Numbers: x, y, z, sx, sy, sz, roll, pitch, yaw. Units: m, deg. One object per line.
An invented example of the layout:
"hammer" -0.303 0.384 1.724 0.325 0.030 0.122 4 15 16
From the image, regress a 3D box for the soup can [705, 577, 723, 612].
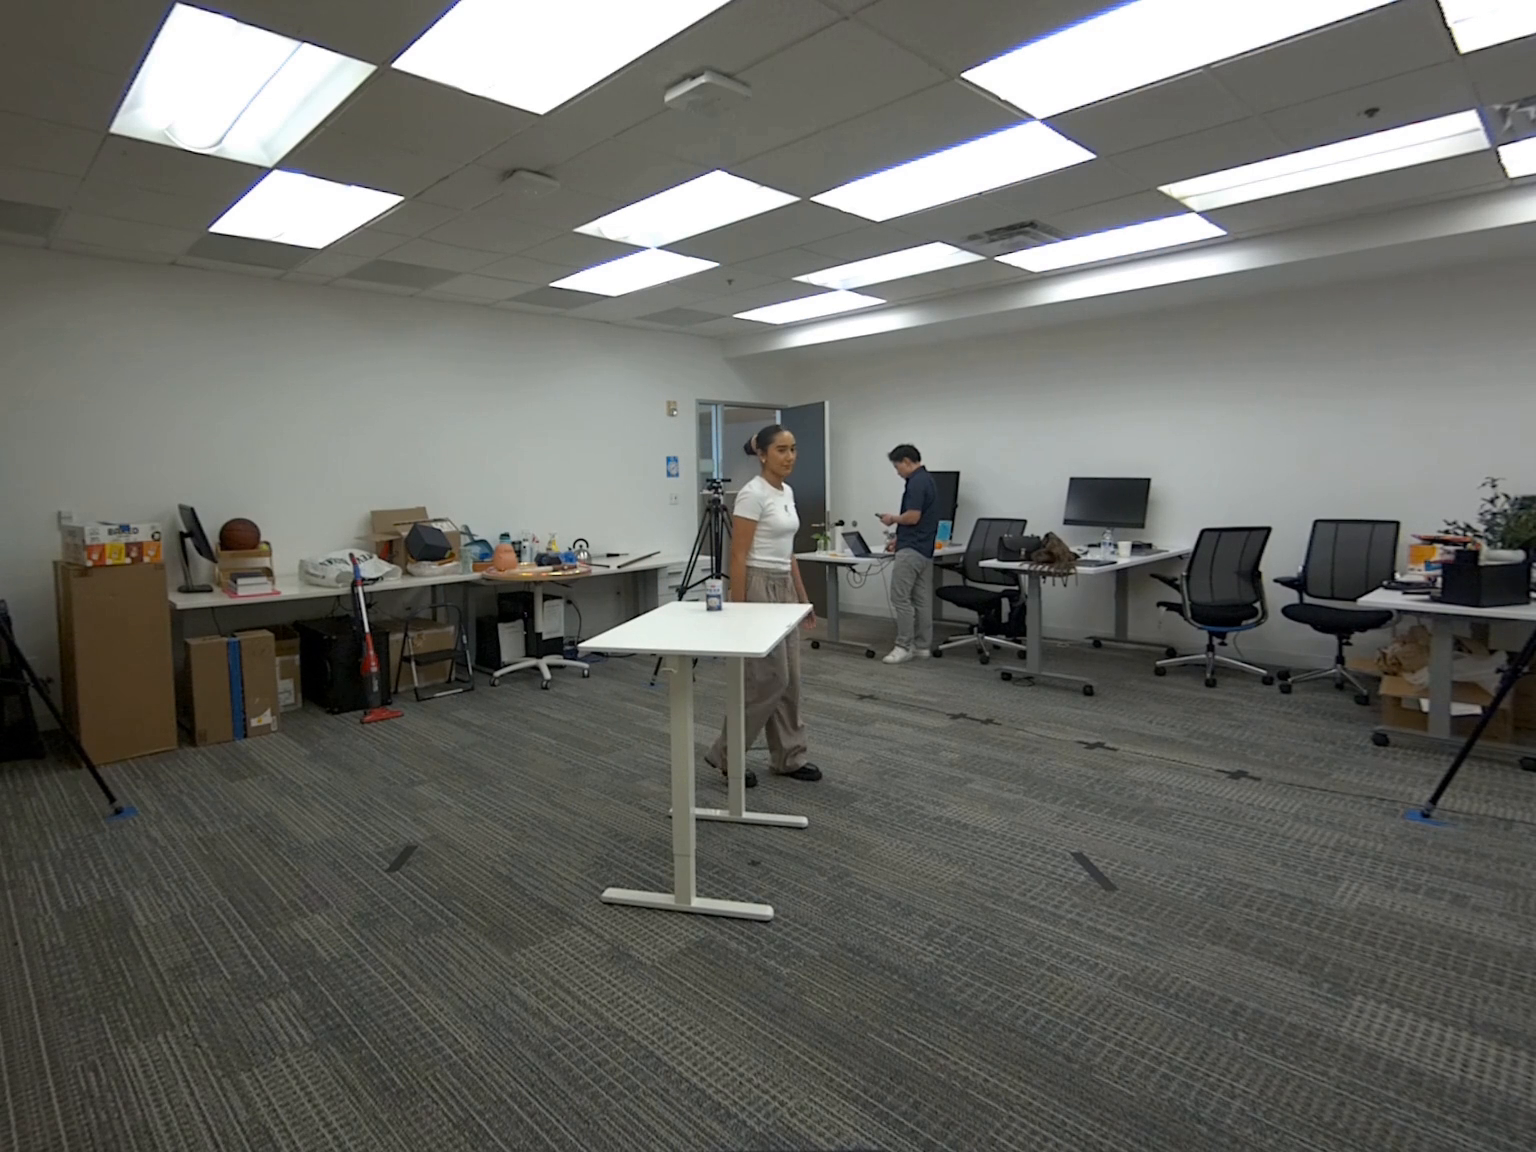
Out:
"soup can" -0.214 0.080 3.376 0.067 0.121 0.067 -2 4 -1
